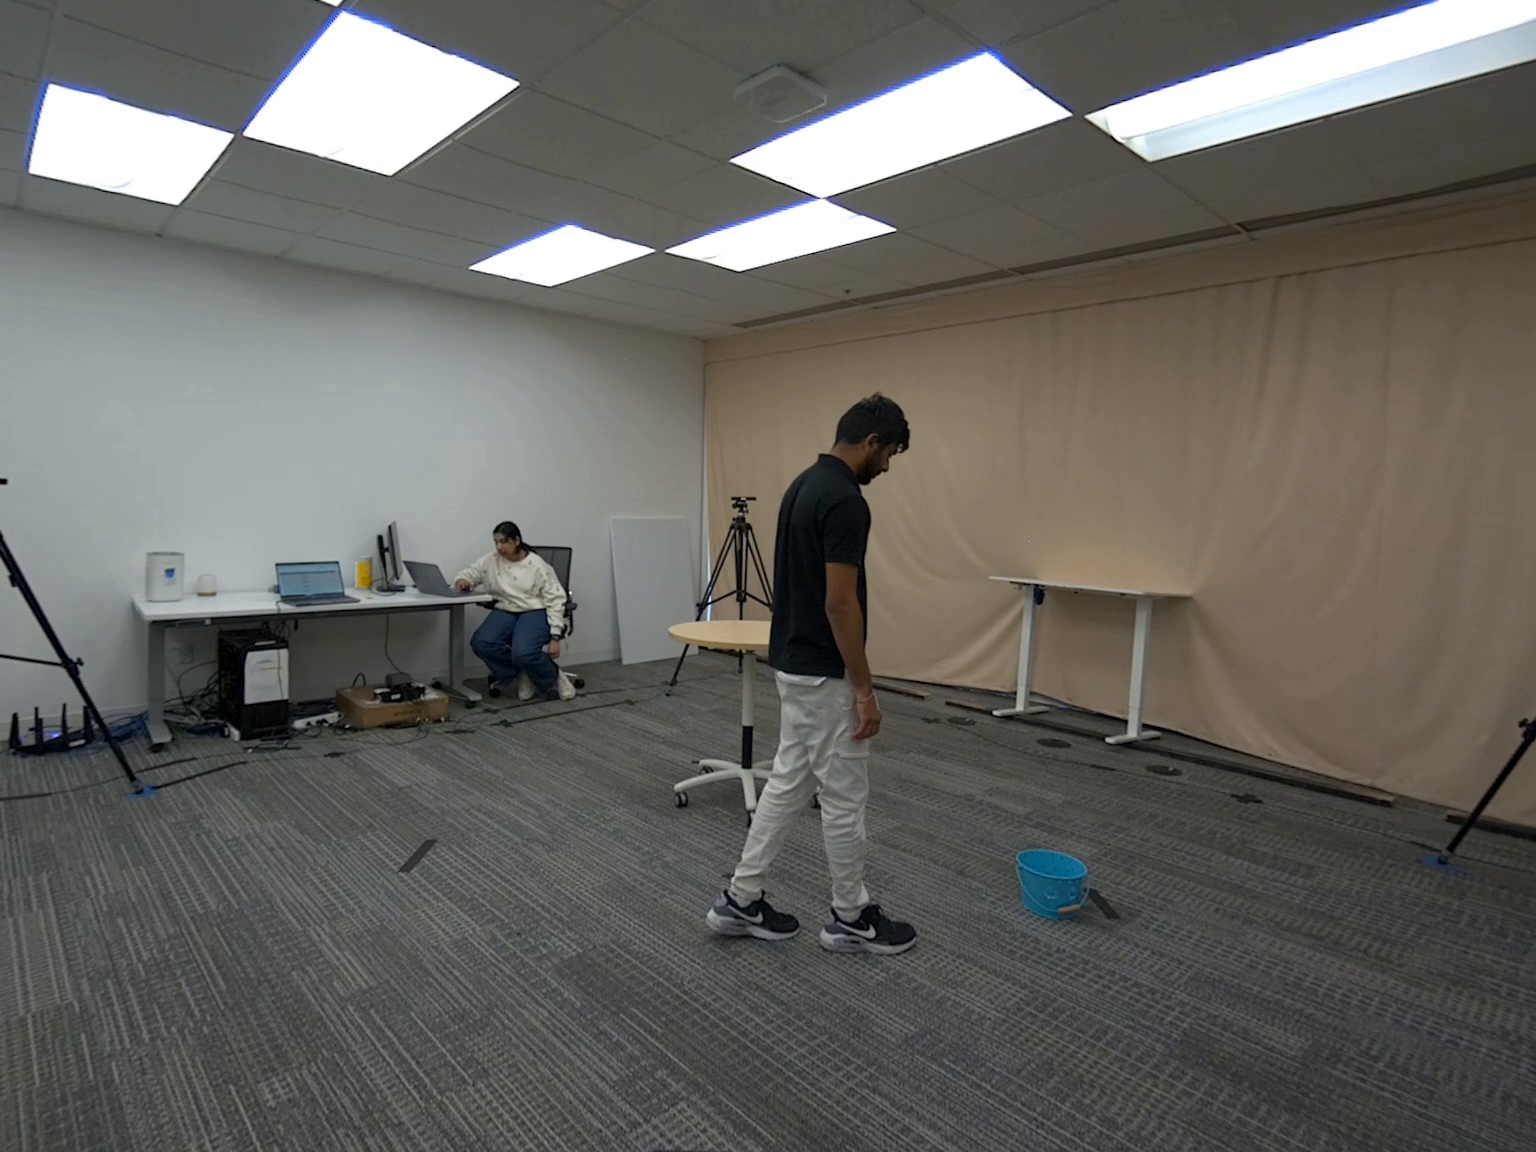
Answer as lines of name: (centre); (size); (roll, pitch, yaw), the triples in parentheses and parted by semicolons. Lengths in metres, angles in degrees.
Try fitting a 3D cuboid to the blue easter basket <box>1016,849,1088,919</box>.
blue easter basket: (0.968, 1.072, 2.938); (0.243, 0.155, 0.244); (2, 4, -1)
